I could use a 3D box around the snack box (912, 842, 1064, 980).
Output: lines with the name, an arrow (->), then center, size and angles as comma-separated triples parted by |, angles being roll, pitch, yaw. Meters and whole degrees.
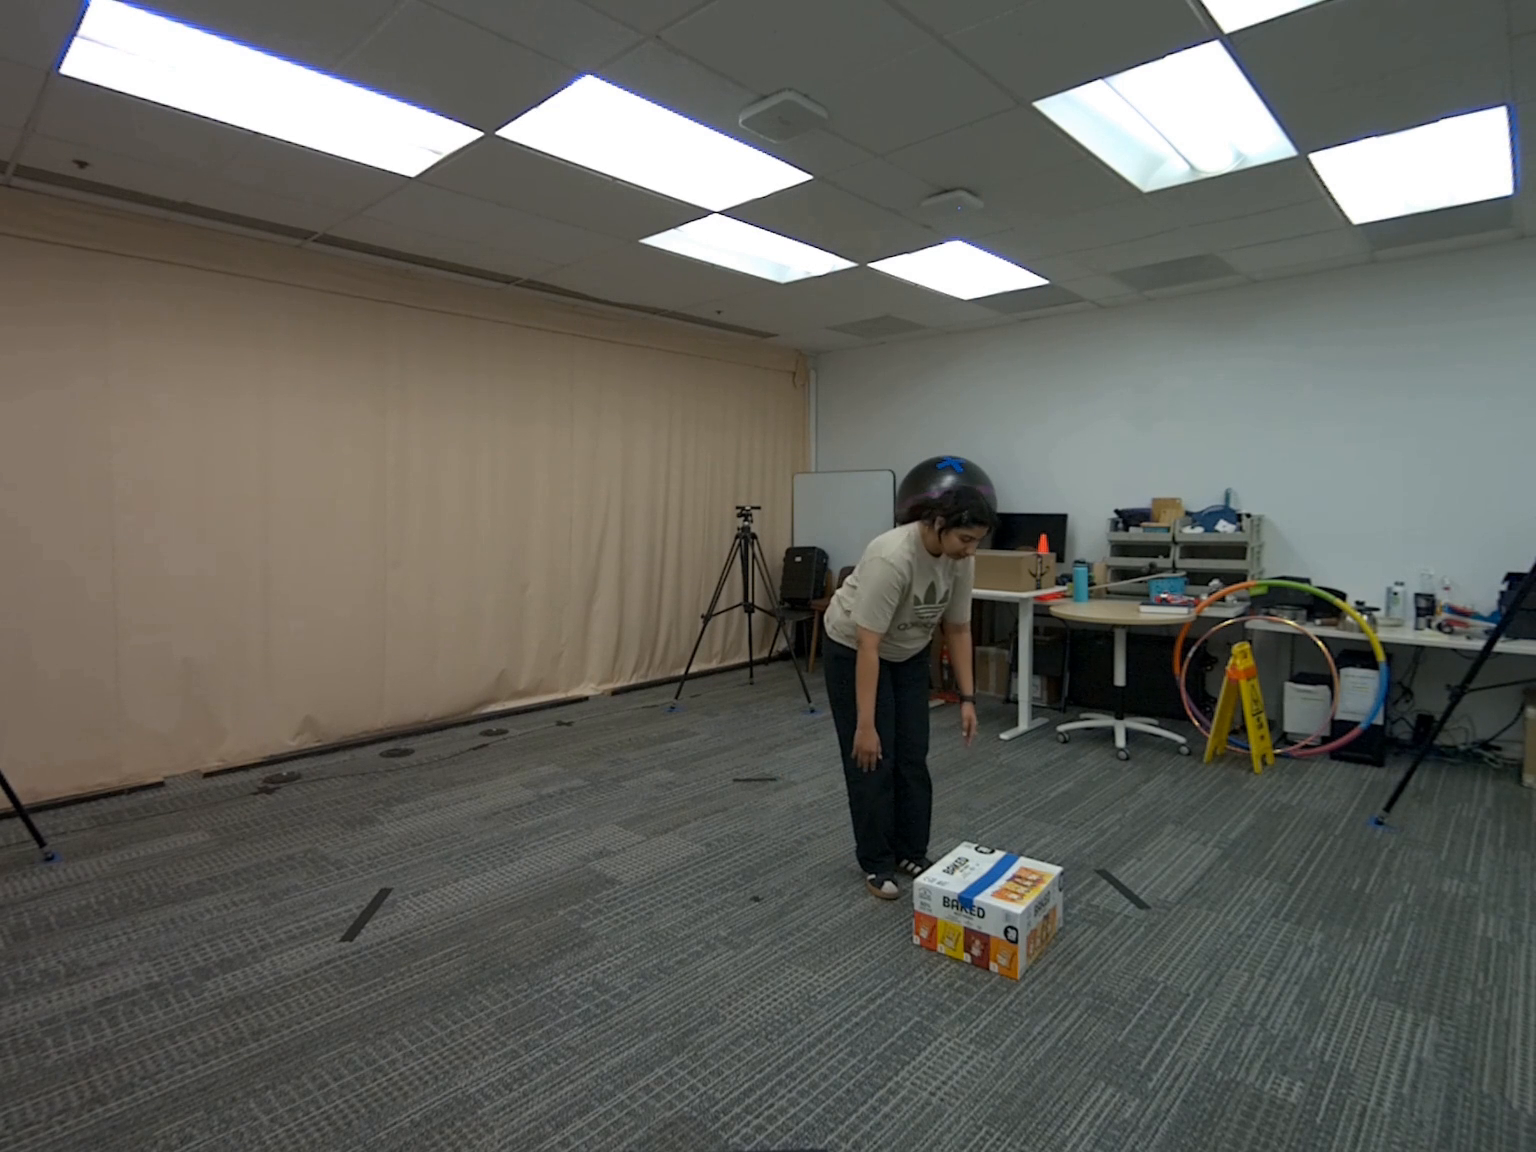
snack box -> 0.723, 1.065, 2.715 | 0.351, 0.205, 0.393 | 4, 6, 37
